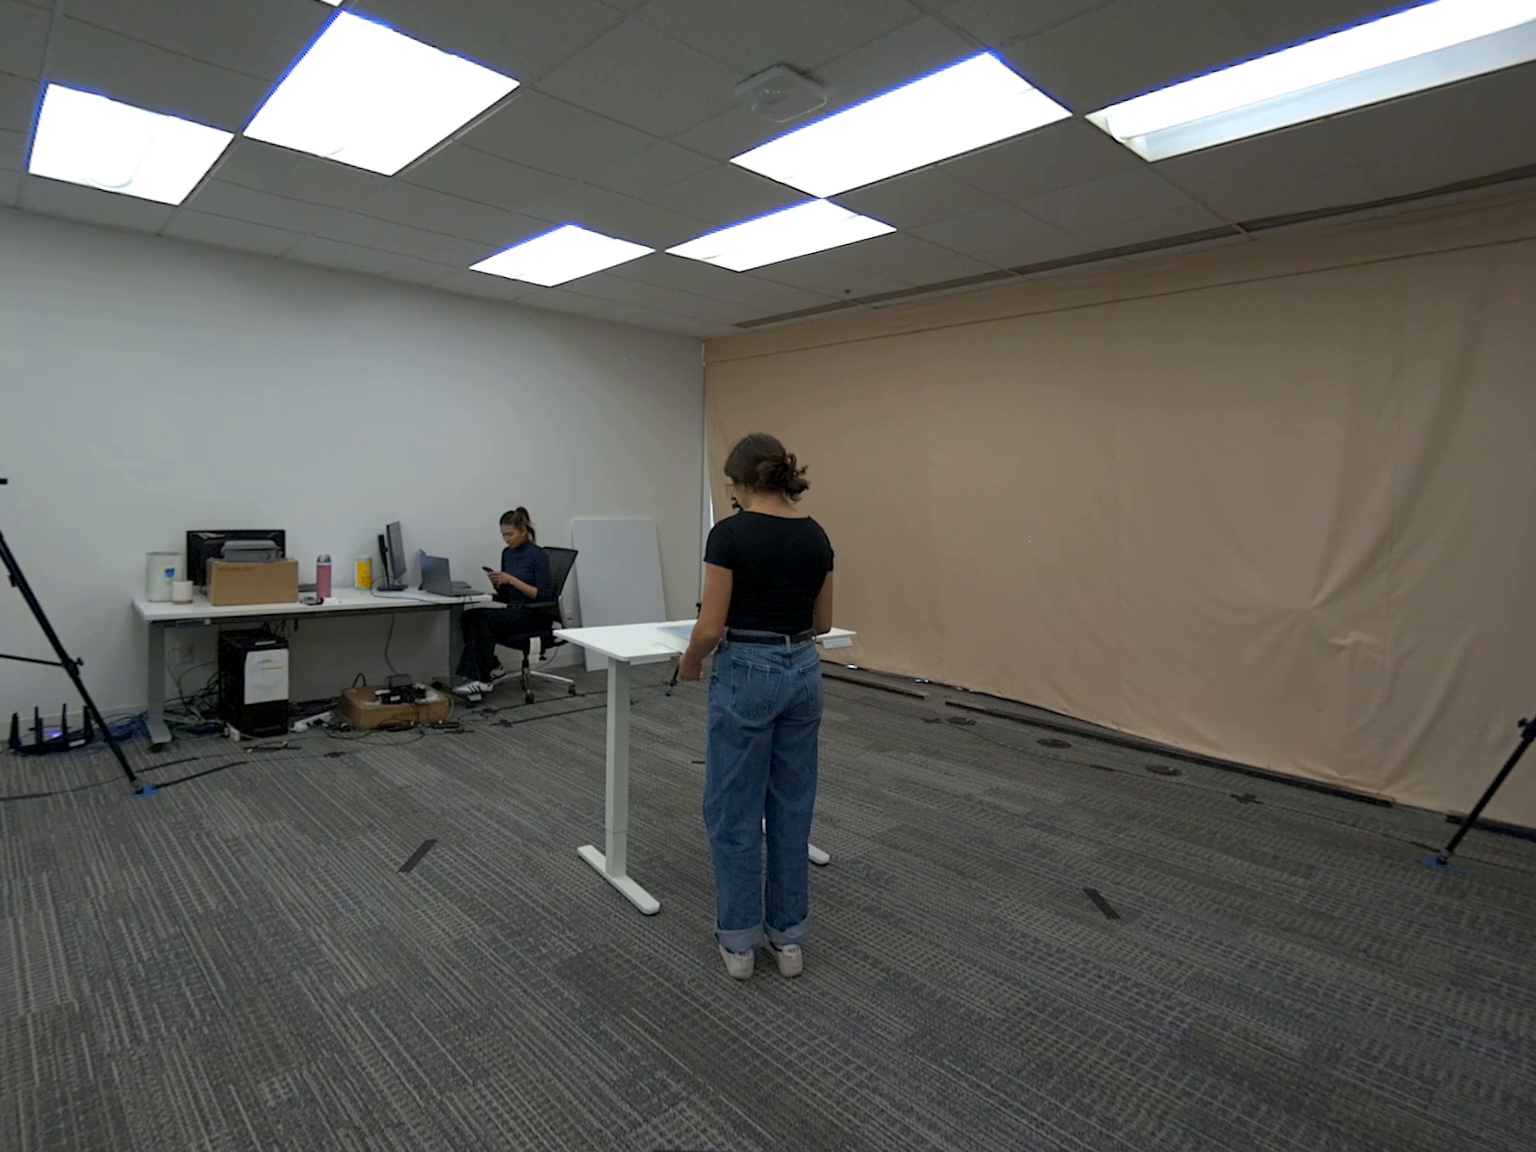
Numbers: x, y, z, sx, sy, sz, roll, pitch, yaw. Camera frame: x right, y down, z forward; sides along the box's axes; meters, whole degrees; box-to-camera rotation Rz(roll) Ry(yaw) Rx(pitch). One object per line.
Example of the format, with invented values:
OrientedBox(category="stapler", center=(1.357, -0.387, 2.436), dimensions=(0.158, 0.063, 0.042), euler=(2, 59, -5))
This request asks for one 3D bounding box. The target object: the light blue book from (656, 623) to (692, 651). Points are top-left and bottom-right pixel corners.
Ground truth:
OrientedBox(category="light blue book", center=(-0.243, 0.219, 2.869), dimensions=(0.187, 0.059, 0.267), euler=(-4, 7, -32))
